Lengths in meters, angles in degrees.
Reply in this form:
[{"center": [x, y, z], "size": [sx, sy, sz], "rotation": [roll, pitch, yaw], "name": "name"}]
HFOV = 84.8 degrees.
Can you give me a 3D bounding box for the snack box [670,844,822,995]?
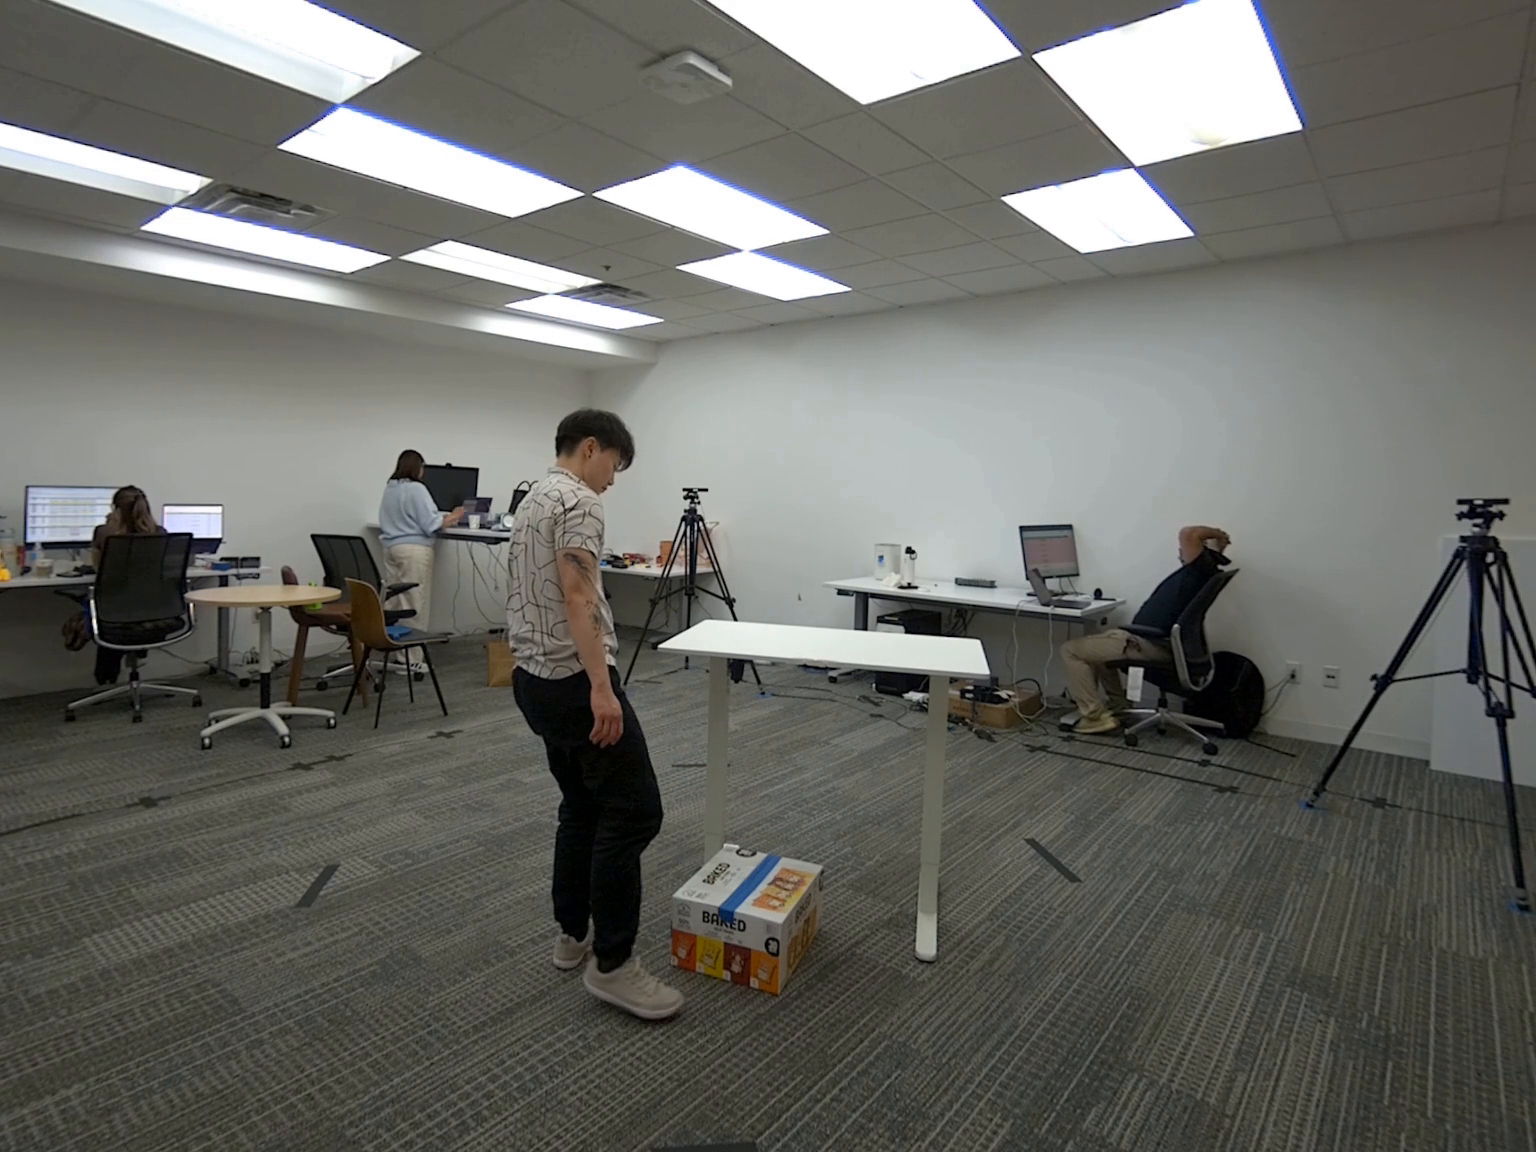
[{"center": [-0.059, 1.022, 2.582], "size": [0.348, 0.205, 0.397], "rotation": [4, 6, 22], "name": "snack box"}]
